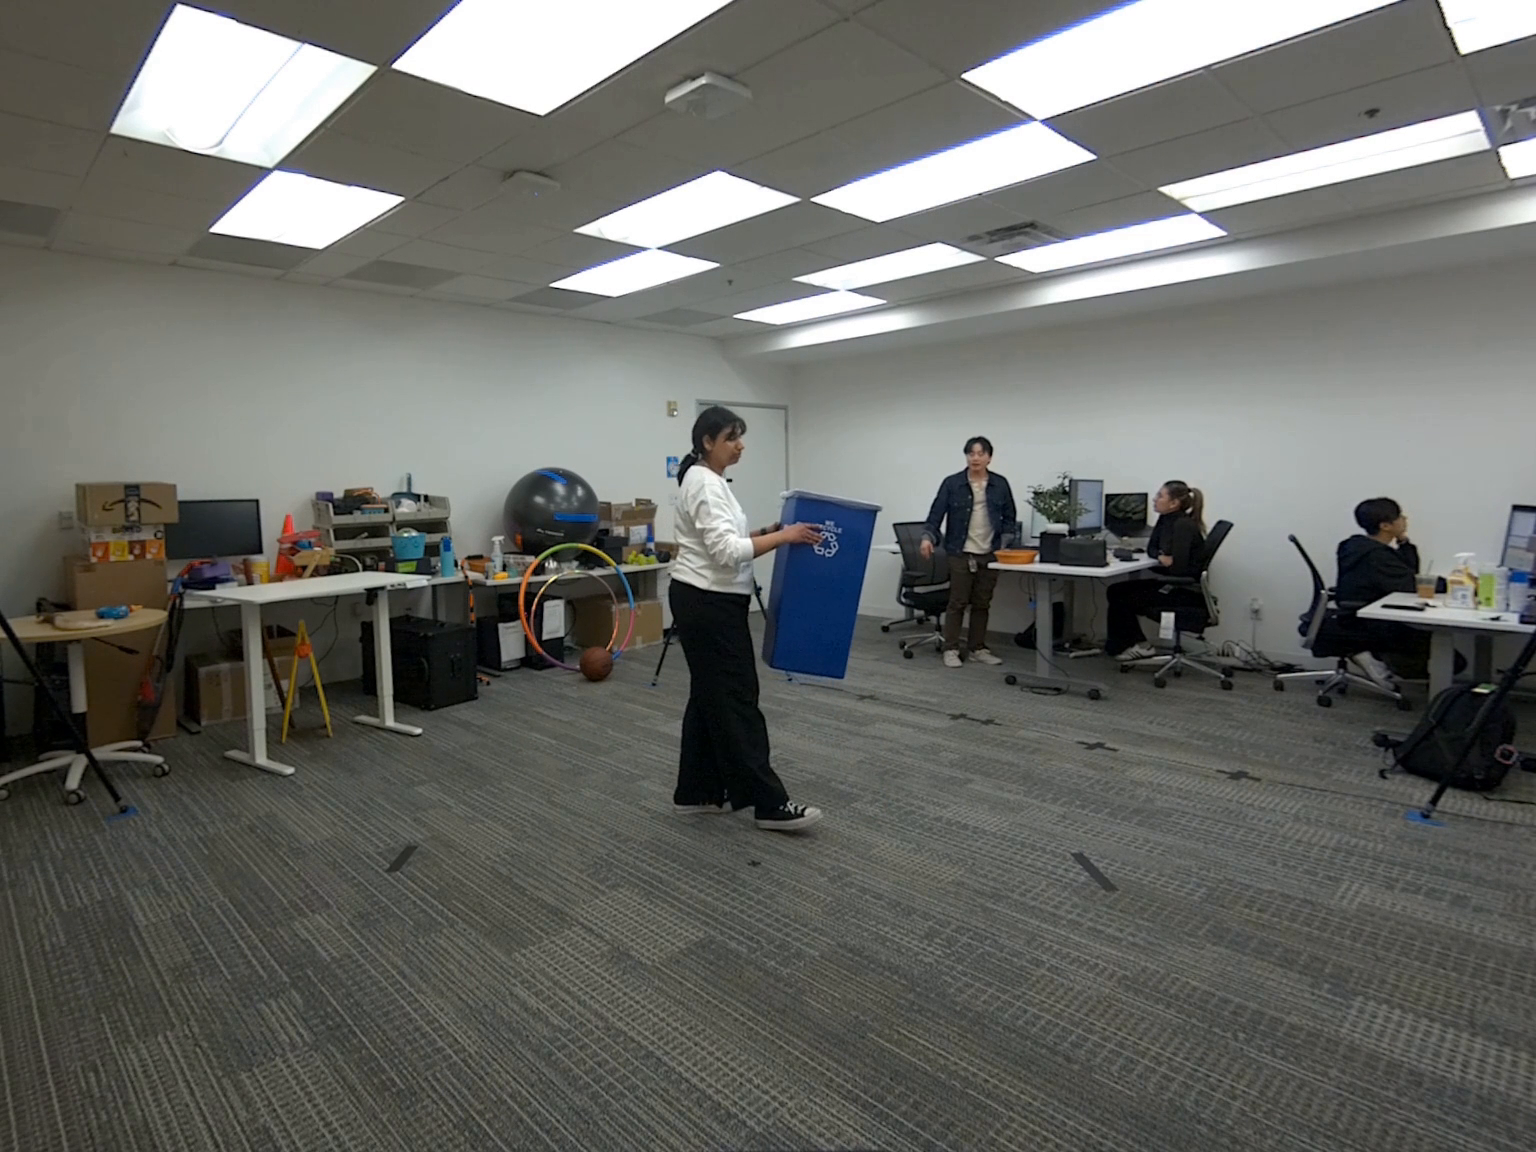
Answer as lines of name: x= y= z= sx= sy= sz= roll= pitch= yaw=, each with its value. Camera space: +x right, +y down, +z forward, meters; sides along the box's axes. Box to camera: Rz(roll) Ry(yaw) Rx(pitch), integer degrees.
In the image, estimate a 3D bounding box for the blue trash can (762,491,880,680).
blue trash can: x=0.205 y=0.031 z=3.537 sx=0.372 sy=0.713 sz=0.380 roll=9 pitch=0 yaw=-6
